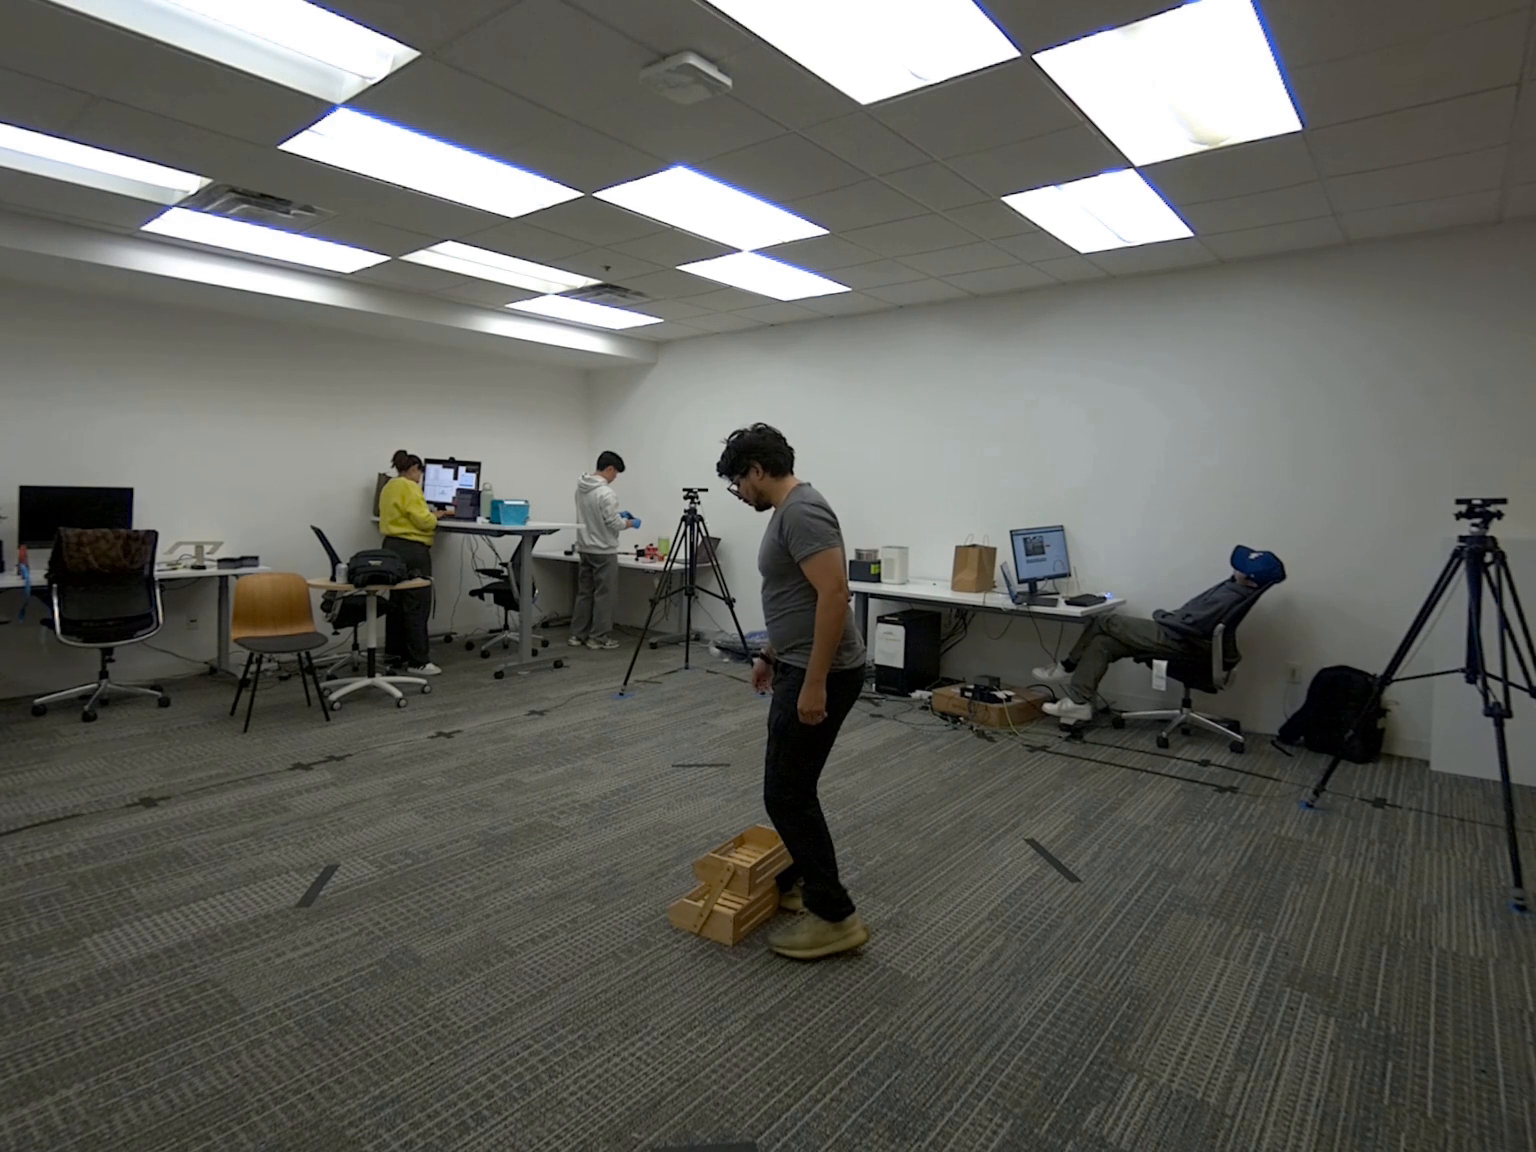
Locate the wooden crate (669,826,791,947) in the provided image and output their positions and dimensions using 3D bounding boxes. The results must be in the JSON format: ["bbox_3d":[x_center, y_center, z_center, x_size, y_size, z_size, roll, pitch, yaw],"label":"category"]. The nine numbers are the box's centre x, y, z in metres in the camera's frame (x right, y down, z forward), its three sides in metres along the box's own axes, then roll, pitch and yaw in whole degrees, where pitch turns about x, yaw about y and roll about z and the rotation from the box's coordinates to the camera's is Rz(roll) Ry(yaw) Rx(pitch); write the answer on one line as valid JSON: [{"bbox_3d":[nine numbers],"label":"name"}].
[{"bbox_3d":[-0.136,0.976,2.750,0.311,0.272,0.316,5,5,30],"label":"wooden crate"}]
